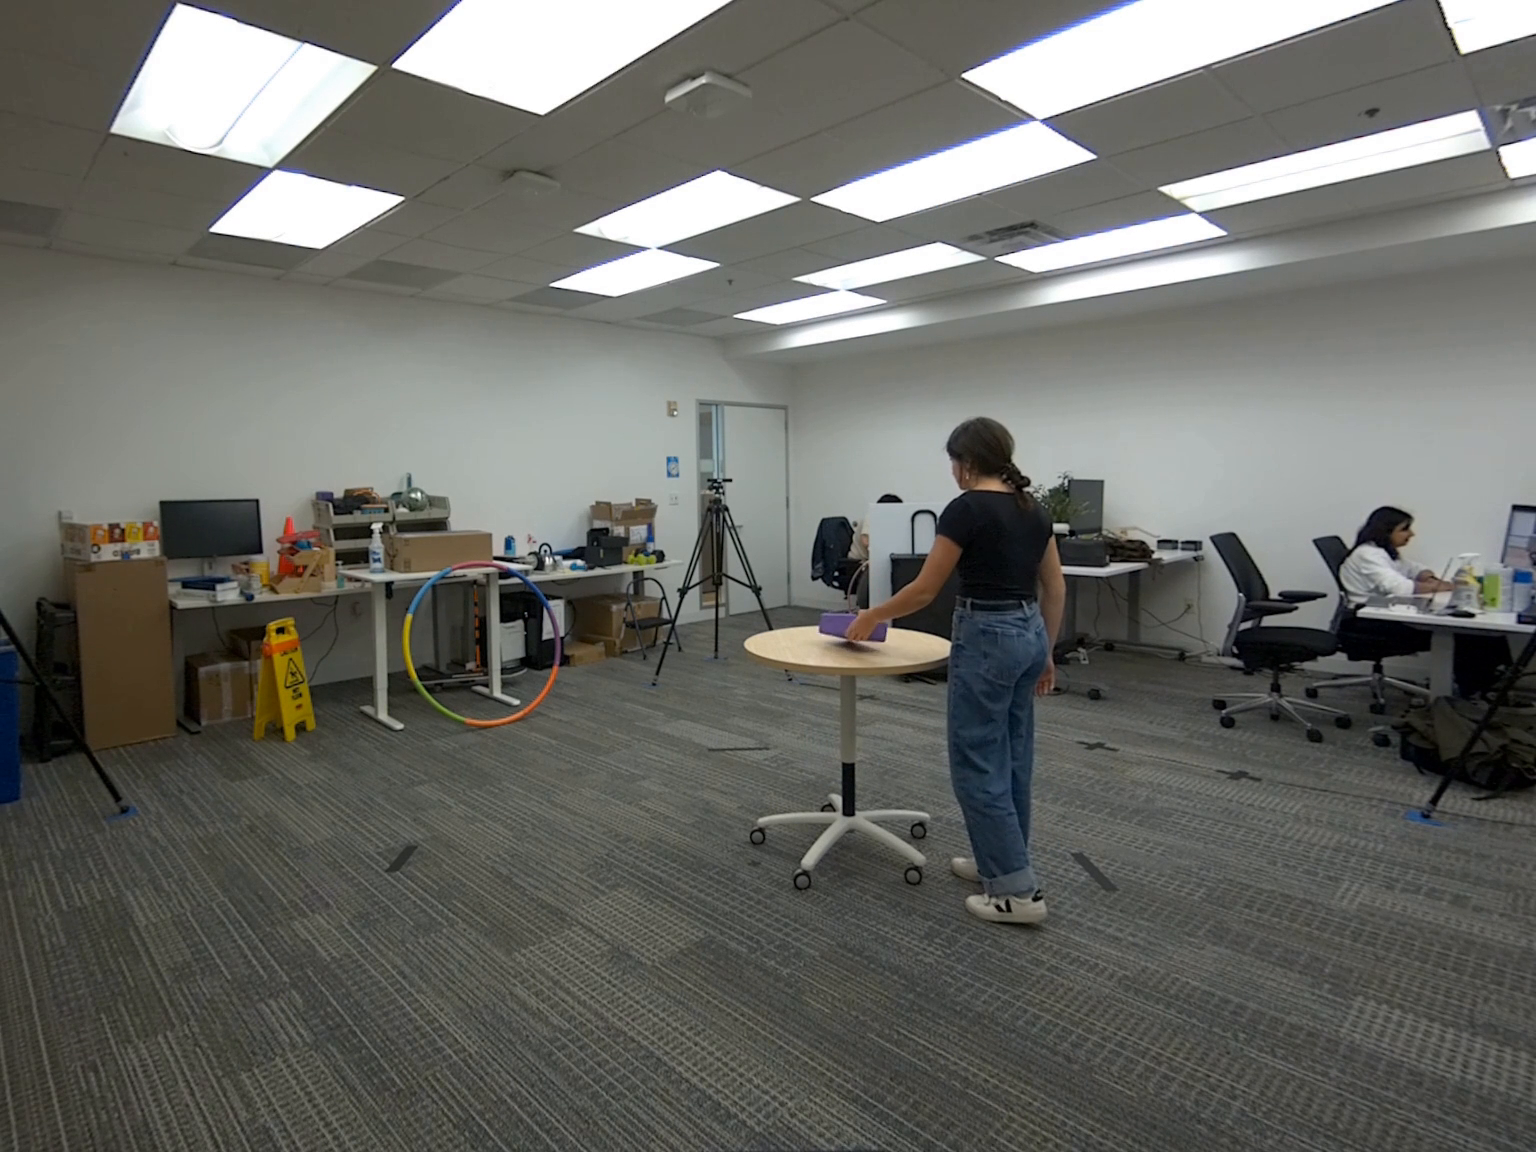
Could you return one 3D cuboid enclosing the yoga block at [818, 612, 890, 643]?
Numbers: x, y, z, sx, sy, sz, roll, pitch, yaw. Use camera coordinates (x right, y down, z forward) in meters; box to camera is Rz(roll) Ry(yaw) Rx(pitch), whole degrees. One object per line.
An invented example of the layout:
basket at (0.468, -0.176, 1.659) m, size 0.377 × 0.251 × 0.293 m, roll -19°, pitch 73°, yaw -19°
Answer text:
yoga block at (0.318, 0.183, 3.100) m, size 0.145 × 0.077 × 0.233 m, roll 12°, pitch -6°, yaw -23°
